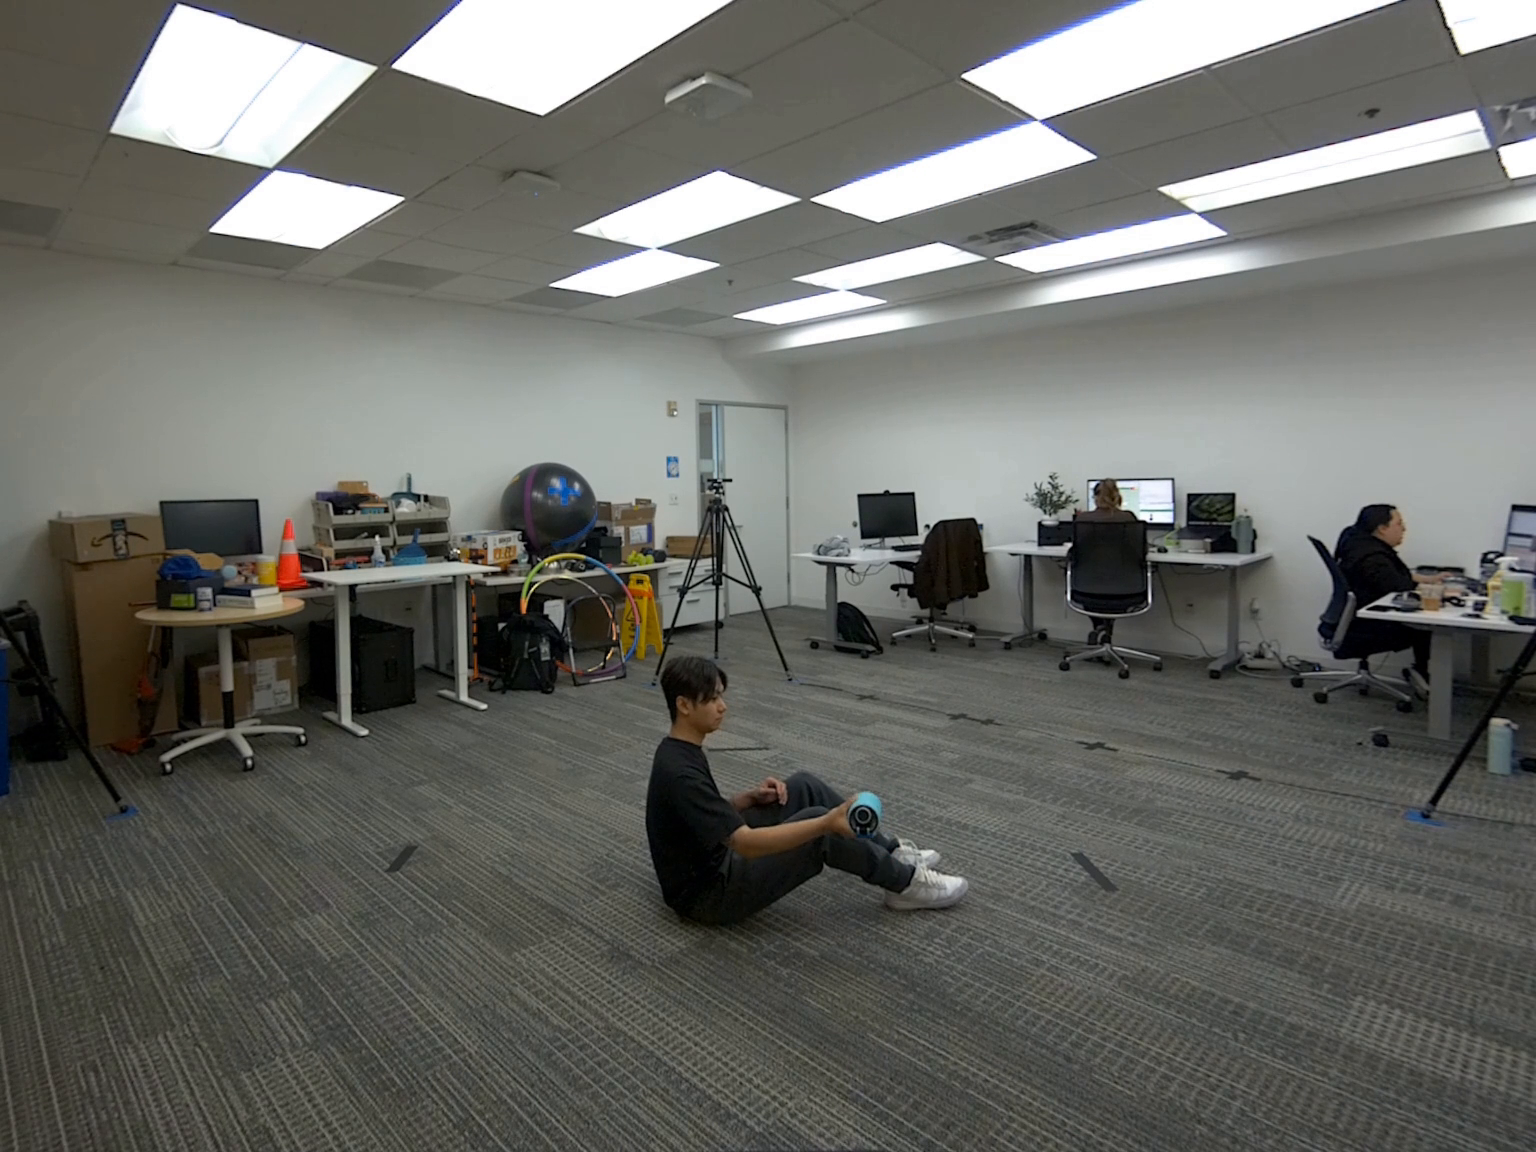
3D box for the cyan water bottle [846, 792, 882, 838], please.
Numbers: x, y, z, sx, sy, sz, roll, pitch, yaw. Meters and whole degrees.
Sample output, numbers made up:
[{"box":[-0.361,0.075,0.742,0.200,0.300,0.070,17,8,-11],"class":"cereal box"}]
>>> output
[{"box":[0.280,0.671,2.411,0.093,0.093,0.278,0,-7,9],"class":"cyan water bottle"}]
